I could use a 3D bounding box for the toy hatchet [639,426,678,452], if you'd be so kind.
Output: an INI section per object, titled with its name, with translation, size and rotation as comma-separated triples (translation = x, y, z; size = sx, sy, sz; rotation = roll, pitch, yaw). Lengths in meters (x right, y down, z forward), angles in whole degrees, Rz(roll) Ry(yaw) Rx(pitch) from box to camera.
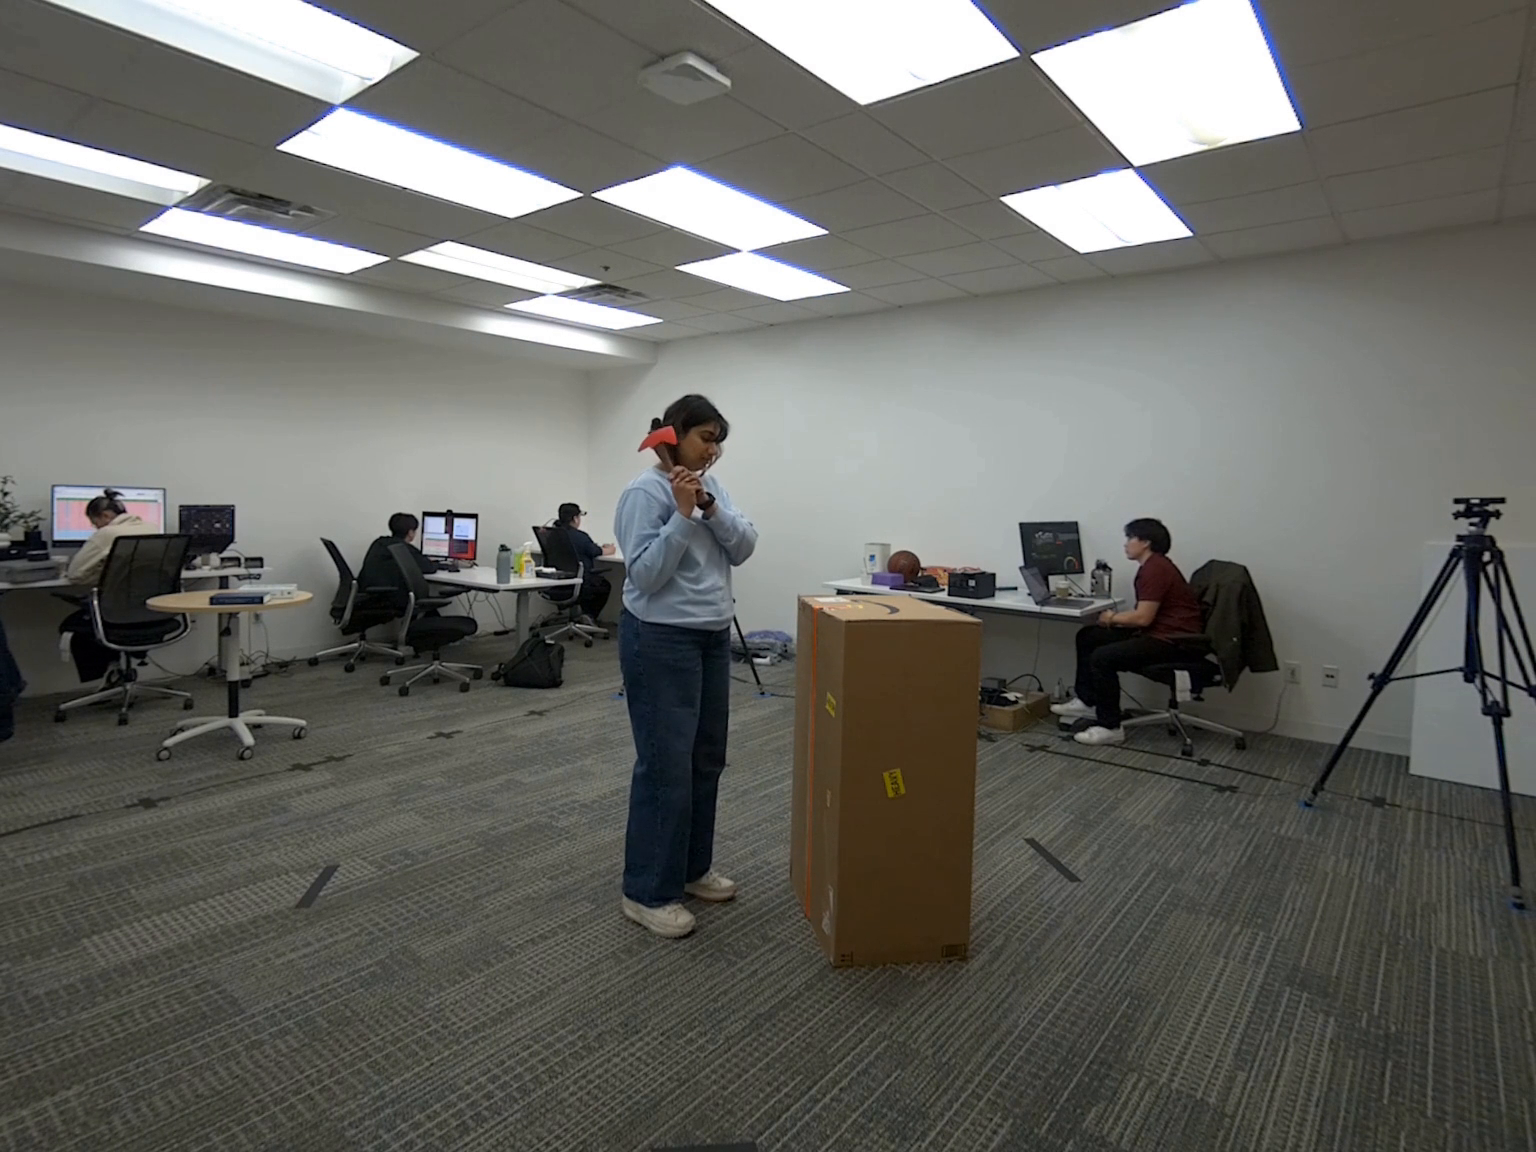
[toy hatchet]
translation = -0.267, -0.360, 2.629
size = 0.275, 0.131, 0.029
rotation = 42, 14, 13
